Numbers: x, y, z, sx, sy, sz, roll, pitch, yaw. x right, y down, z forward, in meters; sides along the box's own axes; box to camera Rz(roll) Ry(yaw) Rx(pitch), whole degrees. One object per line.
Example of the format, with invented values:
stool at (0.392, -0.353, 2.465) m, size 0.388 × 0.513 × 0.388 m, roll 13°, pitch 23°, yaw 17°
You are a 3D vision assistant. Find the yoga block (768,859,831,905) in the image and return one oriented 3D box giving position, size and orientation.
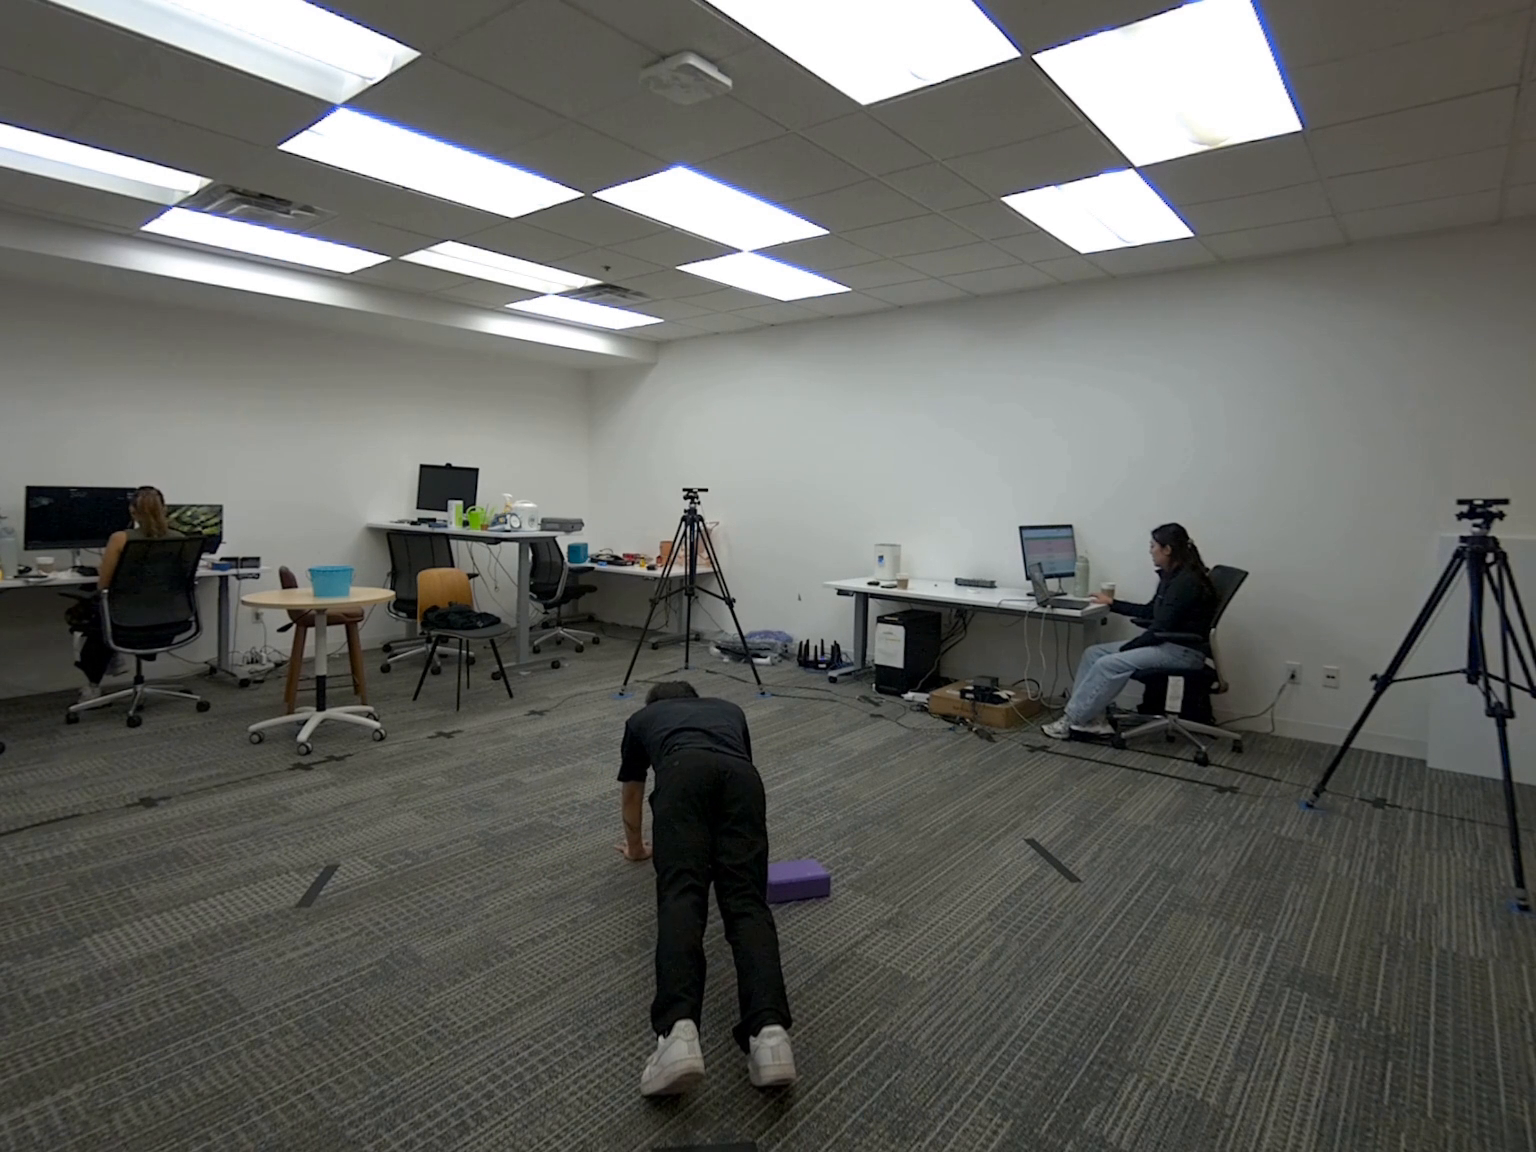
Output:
yoga block at (0.080, 1.052, 2.953) m, size 0.225 × 0.076 × 0.152 m, roll -1°, pitch 5°, yaw -18°
